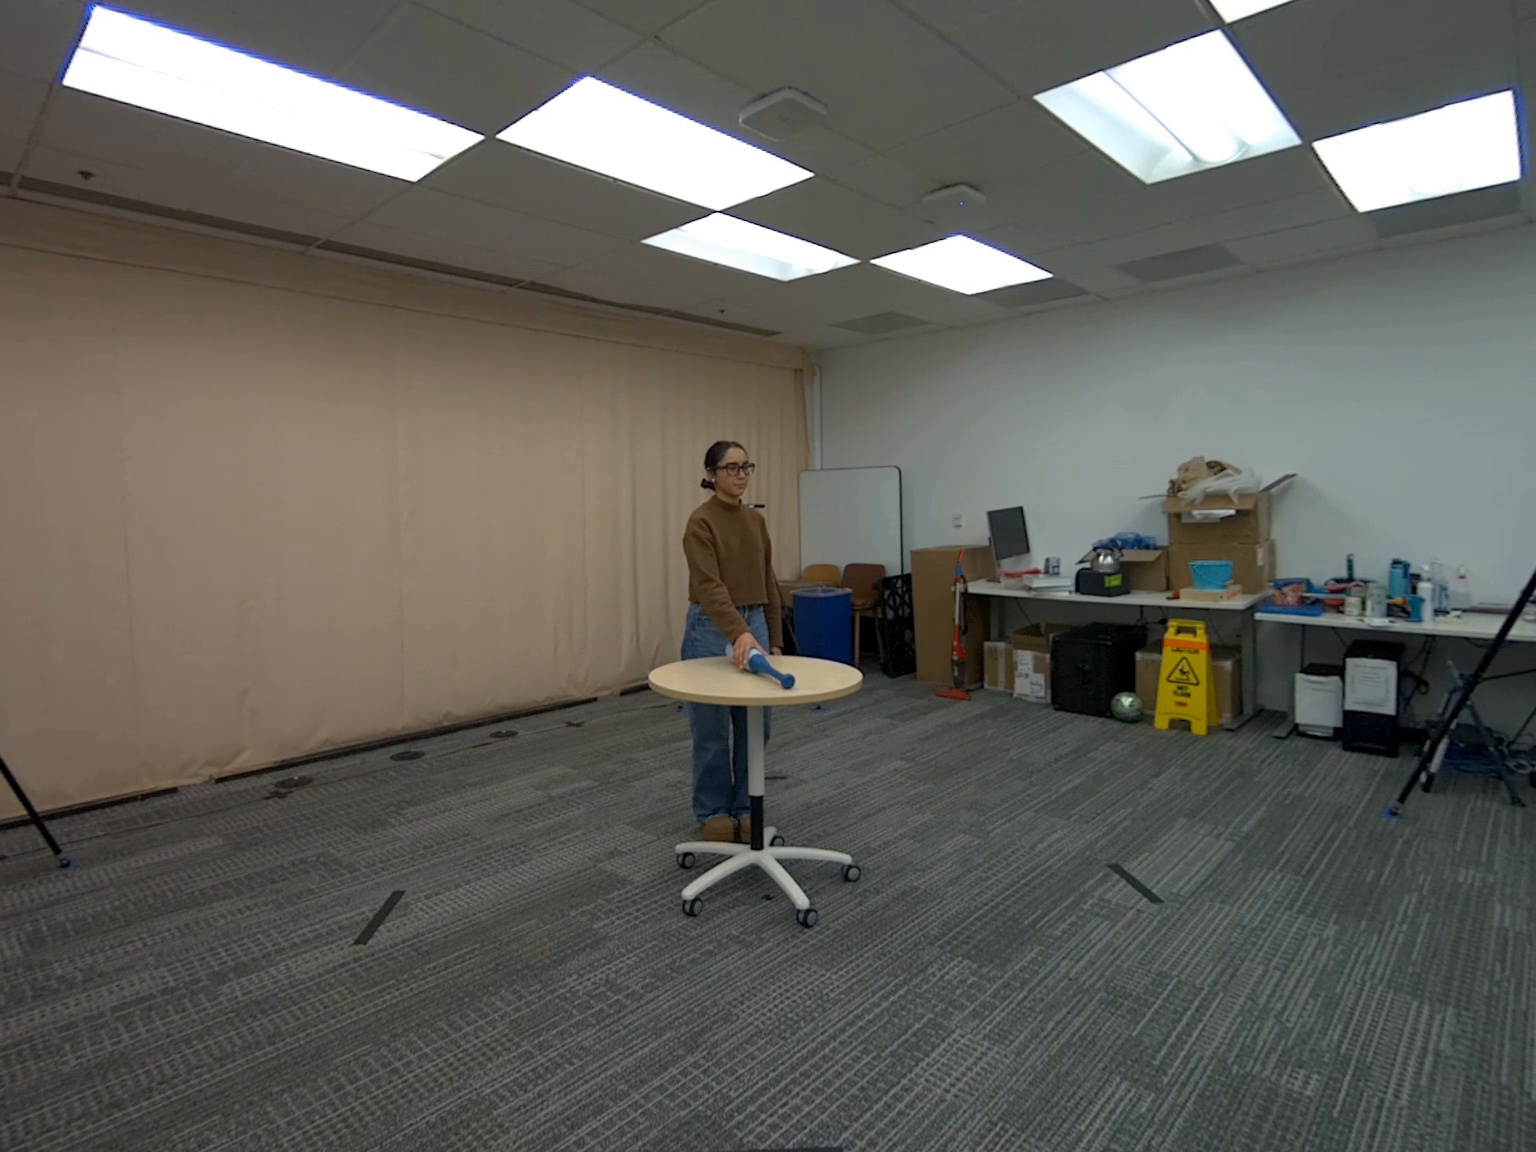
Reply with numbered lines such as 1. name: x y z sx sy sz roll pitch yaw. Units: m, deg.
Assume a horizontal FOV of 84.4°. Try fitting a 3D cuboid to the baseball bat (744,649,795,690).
1. baseball bat: -0.016 0.316 3.015 0.087 0.088 0.555 -2 8 -19
